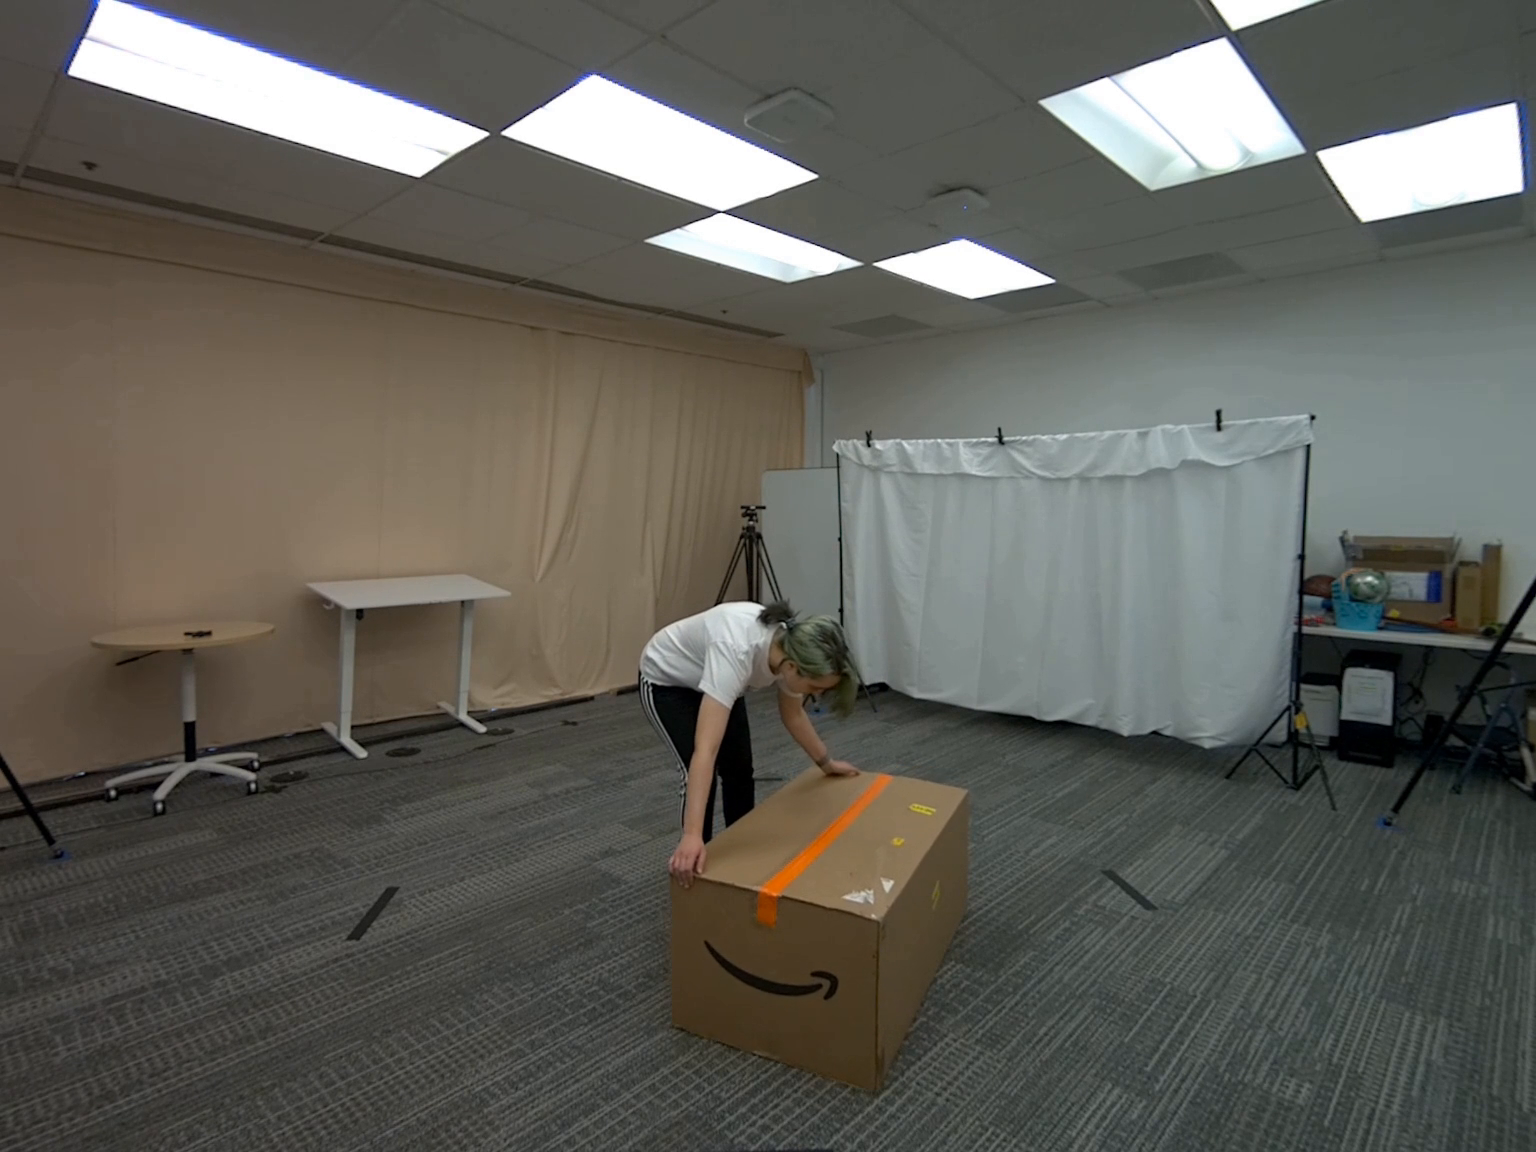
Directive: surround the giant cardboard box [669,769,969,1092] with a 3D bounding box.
[{"bbox_3d":[0.215,0.960,2.552,0.593,0.425,1.002,3,5,25],"label":"giant cardboard box"}]
